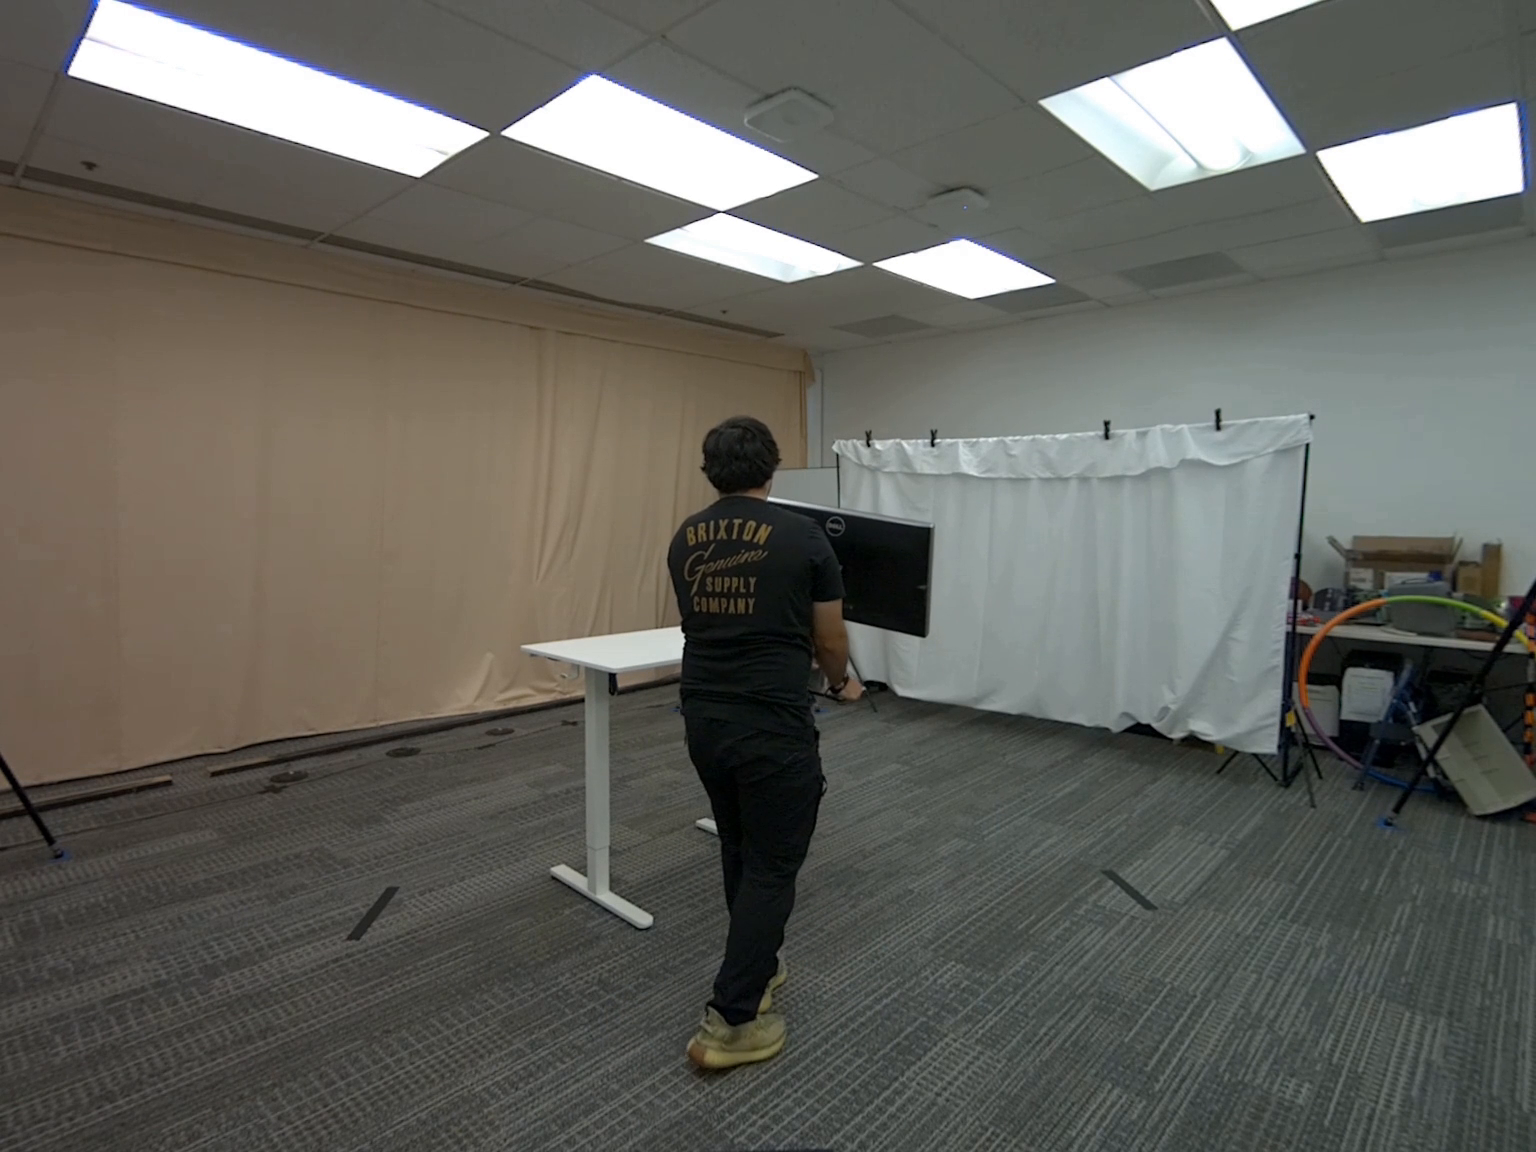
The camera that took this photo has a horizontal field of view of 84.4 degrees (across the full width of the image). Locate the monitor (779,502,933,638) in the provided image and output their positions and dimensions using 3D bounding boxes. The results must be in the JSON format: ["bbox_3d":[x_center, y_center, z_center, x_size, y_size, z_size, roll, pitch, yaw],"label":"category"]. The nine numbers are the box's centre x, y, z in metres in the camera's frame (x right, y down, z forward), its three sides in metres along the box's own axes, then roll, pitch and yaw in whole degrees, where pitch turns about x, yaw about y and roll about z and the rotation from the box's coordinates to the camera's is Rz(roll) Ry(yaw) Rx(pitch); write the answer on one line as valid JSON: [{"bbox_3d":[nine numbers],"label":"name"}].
[{"bbox_3d":[0.186,0.073,2.498,0.582,0.548,0.206,13,21,27],"label":"monitor"}]
